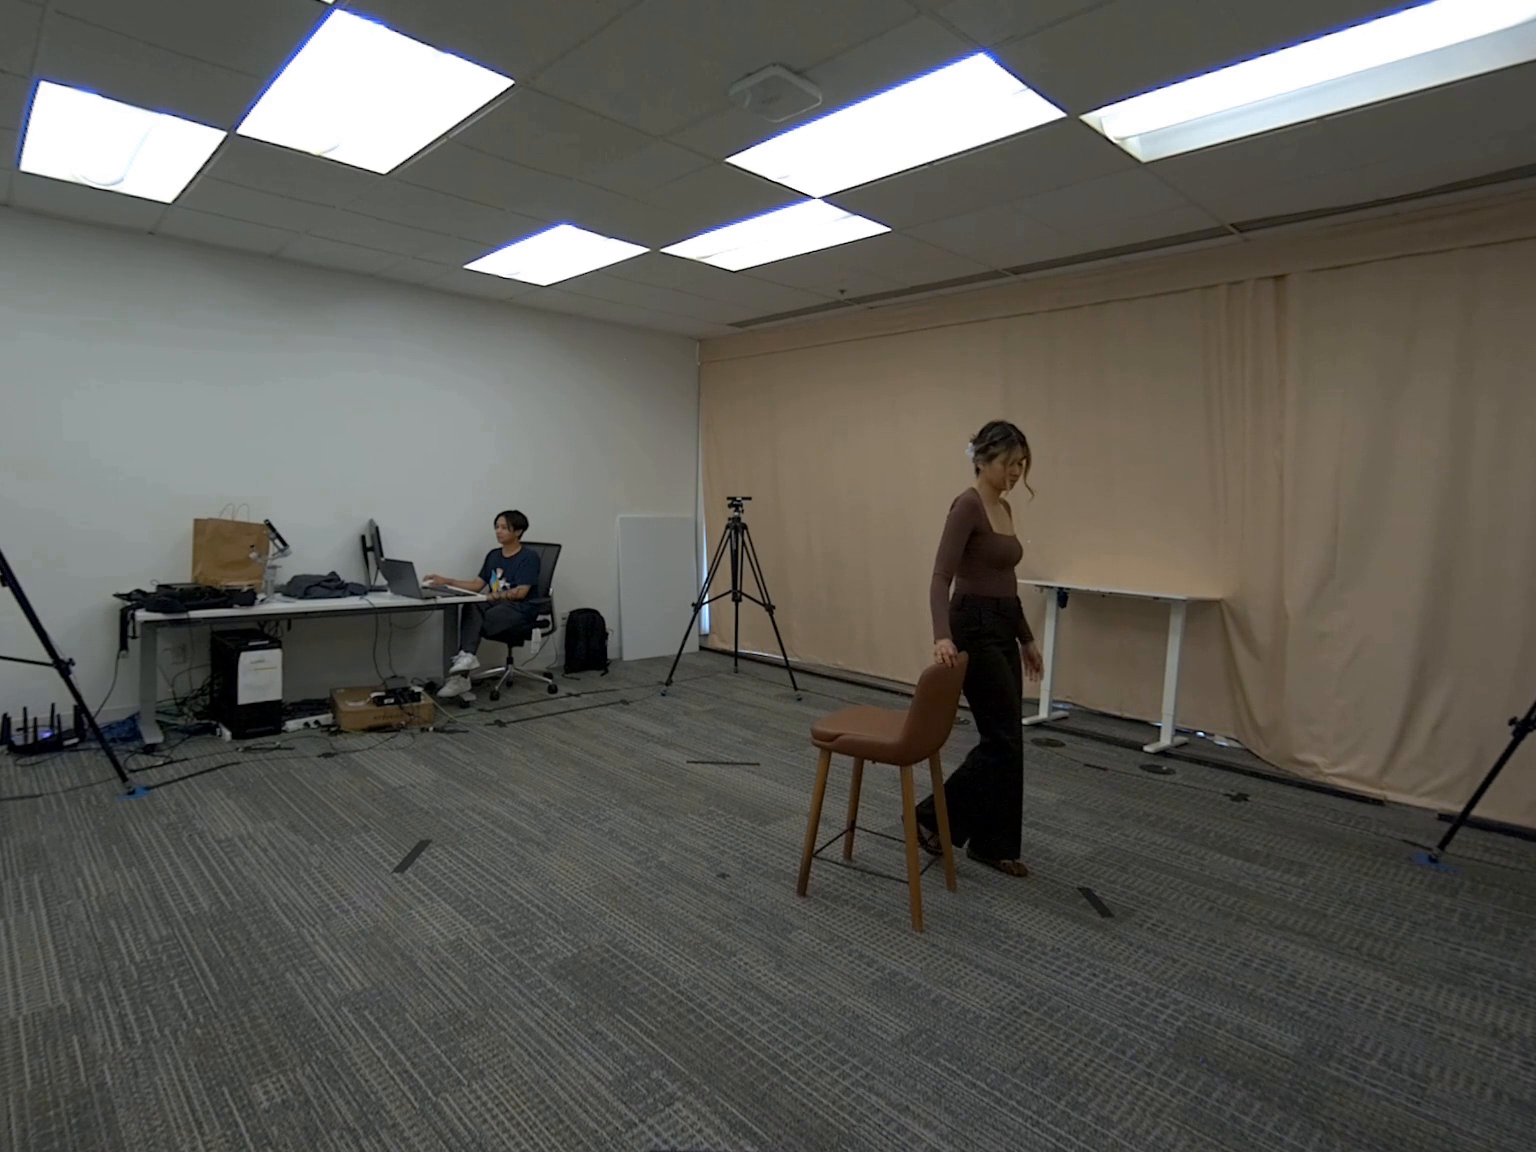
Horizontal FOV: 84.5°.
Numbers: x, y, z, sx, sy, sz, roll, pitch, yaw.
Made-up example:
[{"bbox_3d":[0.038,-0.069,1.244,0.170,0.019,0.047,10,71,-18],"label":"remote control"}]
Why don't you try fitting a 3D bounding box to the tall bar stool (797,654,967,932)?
[{"bbox_3d":[0.407,0.694,2.972,0.478,0.887,0.447,6,5,32],"label":"tall bar stool"}]
